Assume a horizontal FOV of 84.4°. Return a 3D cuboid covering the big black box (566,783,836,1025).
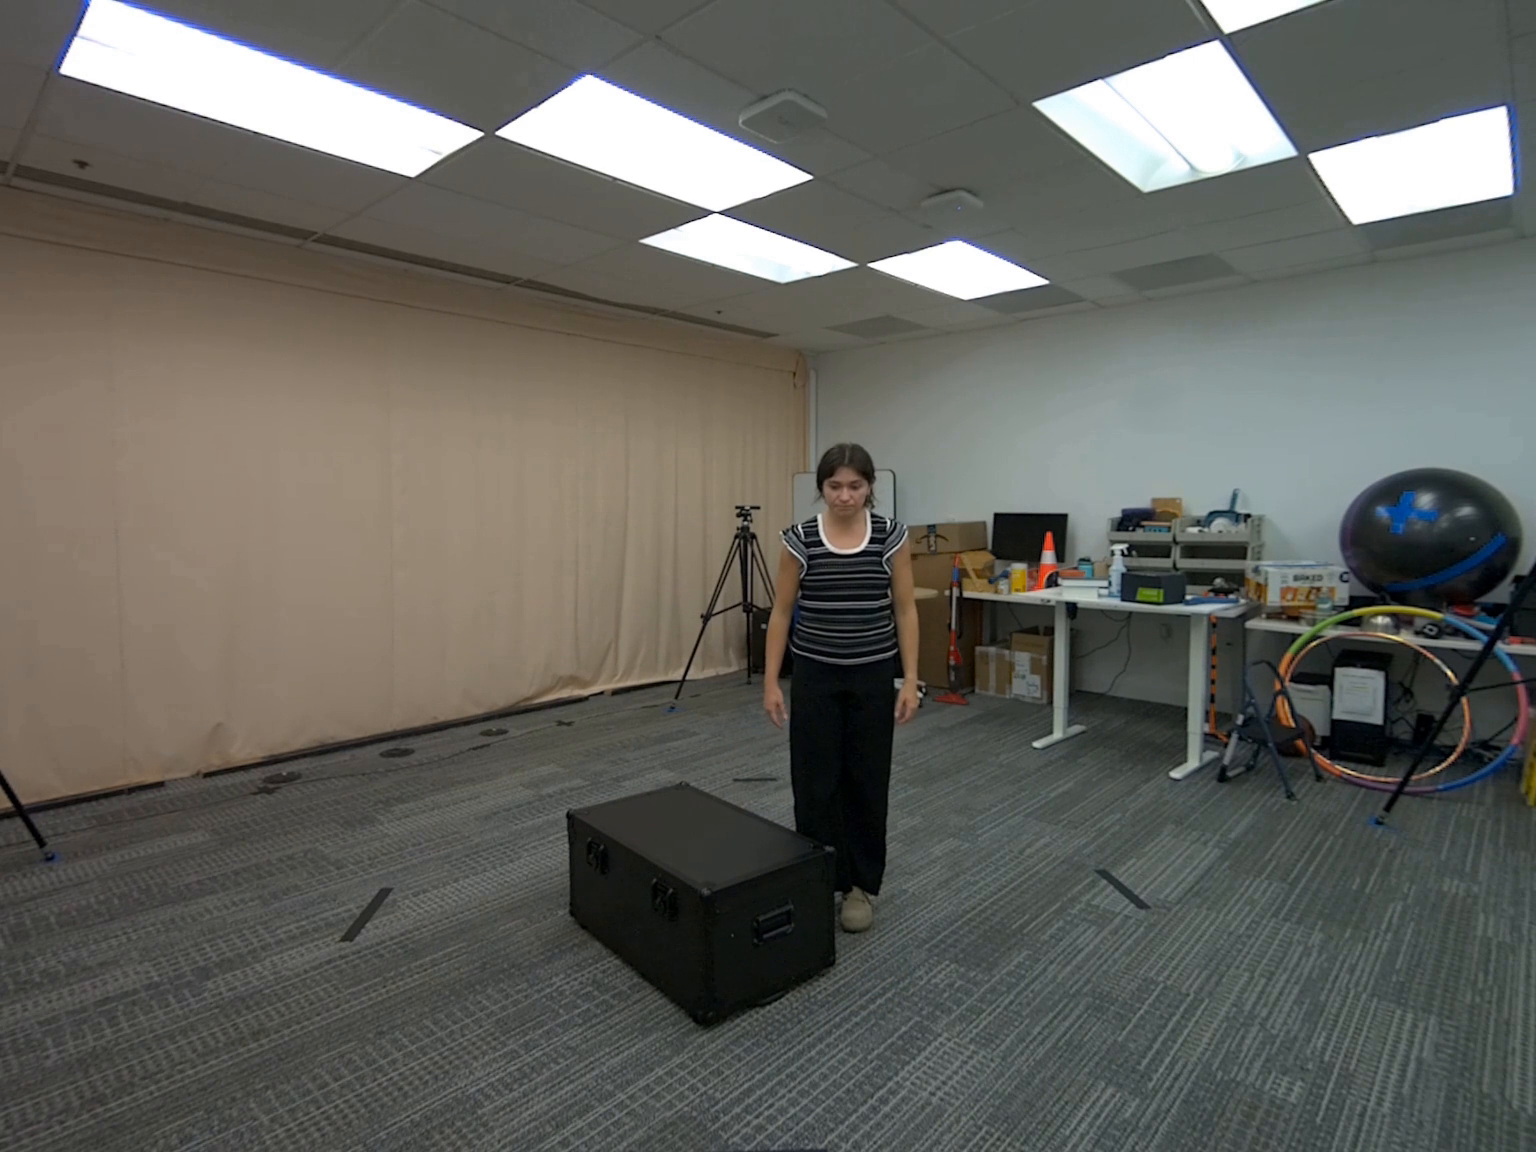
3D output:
[{"bbox_3d":[-0.254,0.982,2.685,0.505,0.395,0.890,-3,6,-39],"label":"big black box"}]
